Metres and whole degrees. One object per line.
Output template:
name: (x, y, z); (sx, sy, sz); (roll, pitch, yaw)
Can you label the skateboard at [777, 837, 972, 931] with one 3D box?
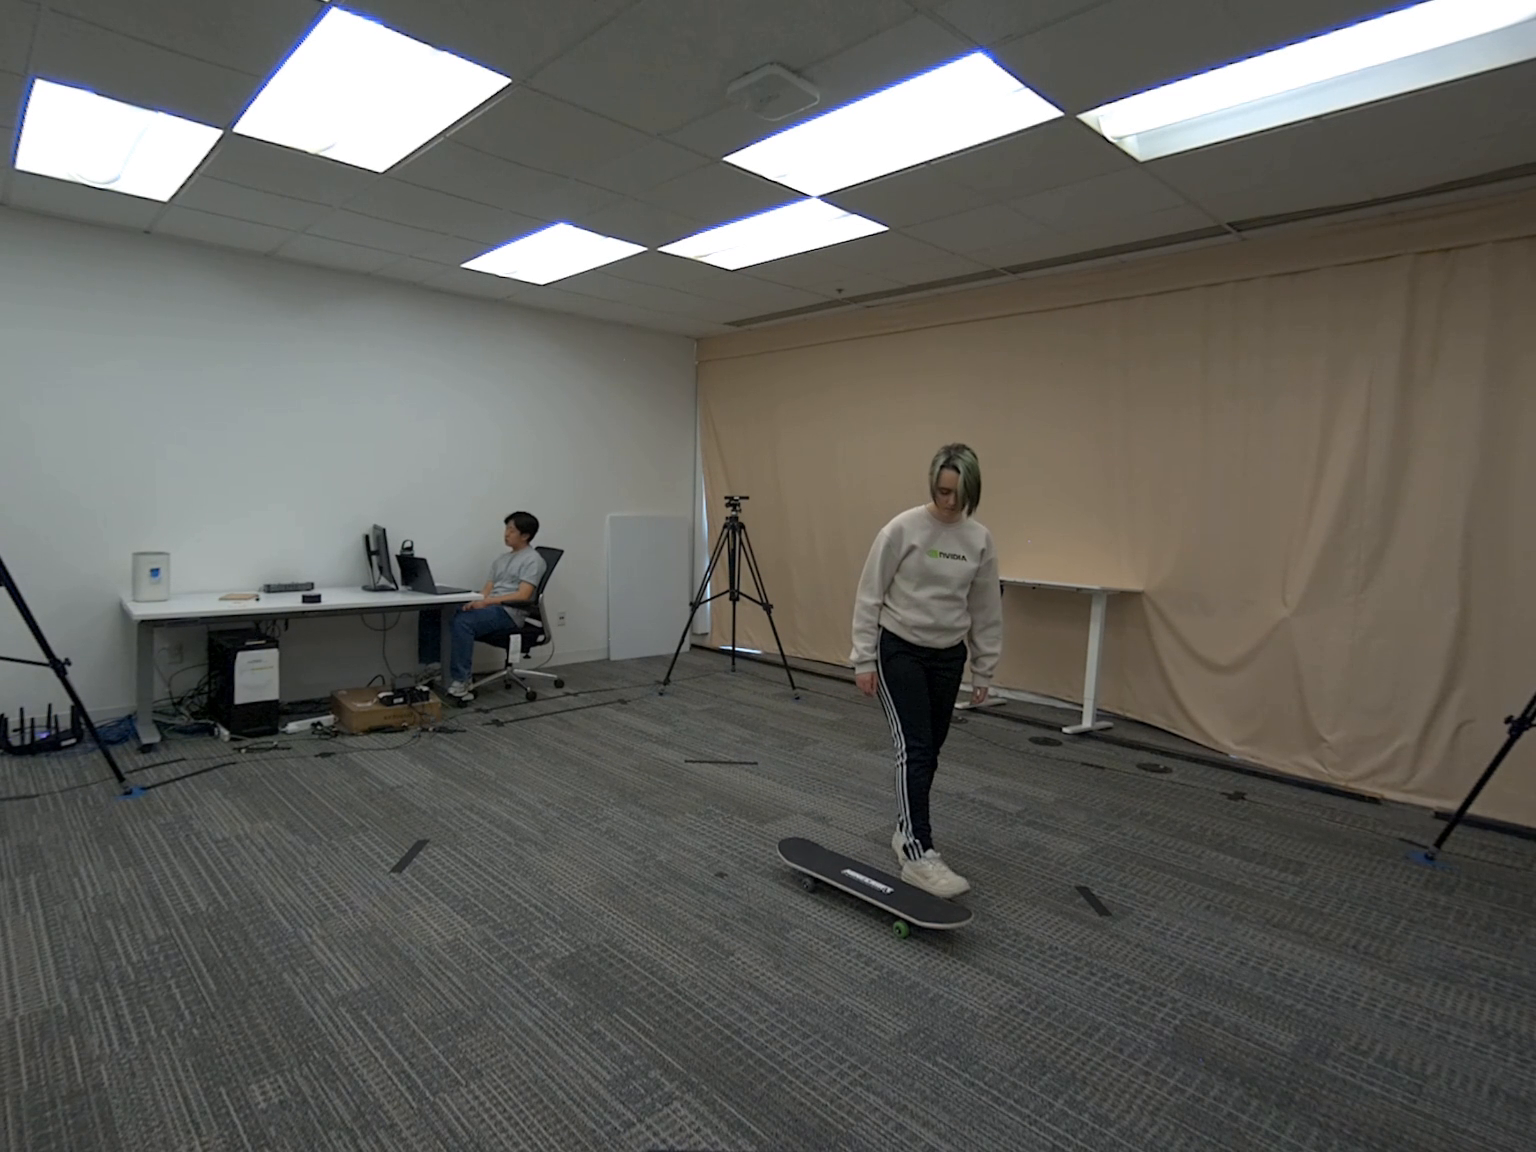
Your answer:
skateboard: (0.330, 1.080, 2.888); (0.189, 0.110, 0.806); (-4, 8, -44)
